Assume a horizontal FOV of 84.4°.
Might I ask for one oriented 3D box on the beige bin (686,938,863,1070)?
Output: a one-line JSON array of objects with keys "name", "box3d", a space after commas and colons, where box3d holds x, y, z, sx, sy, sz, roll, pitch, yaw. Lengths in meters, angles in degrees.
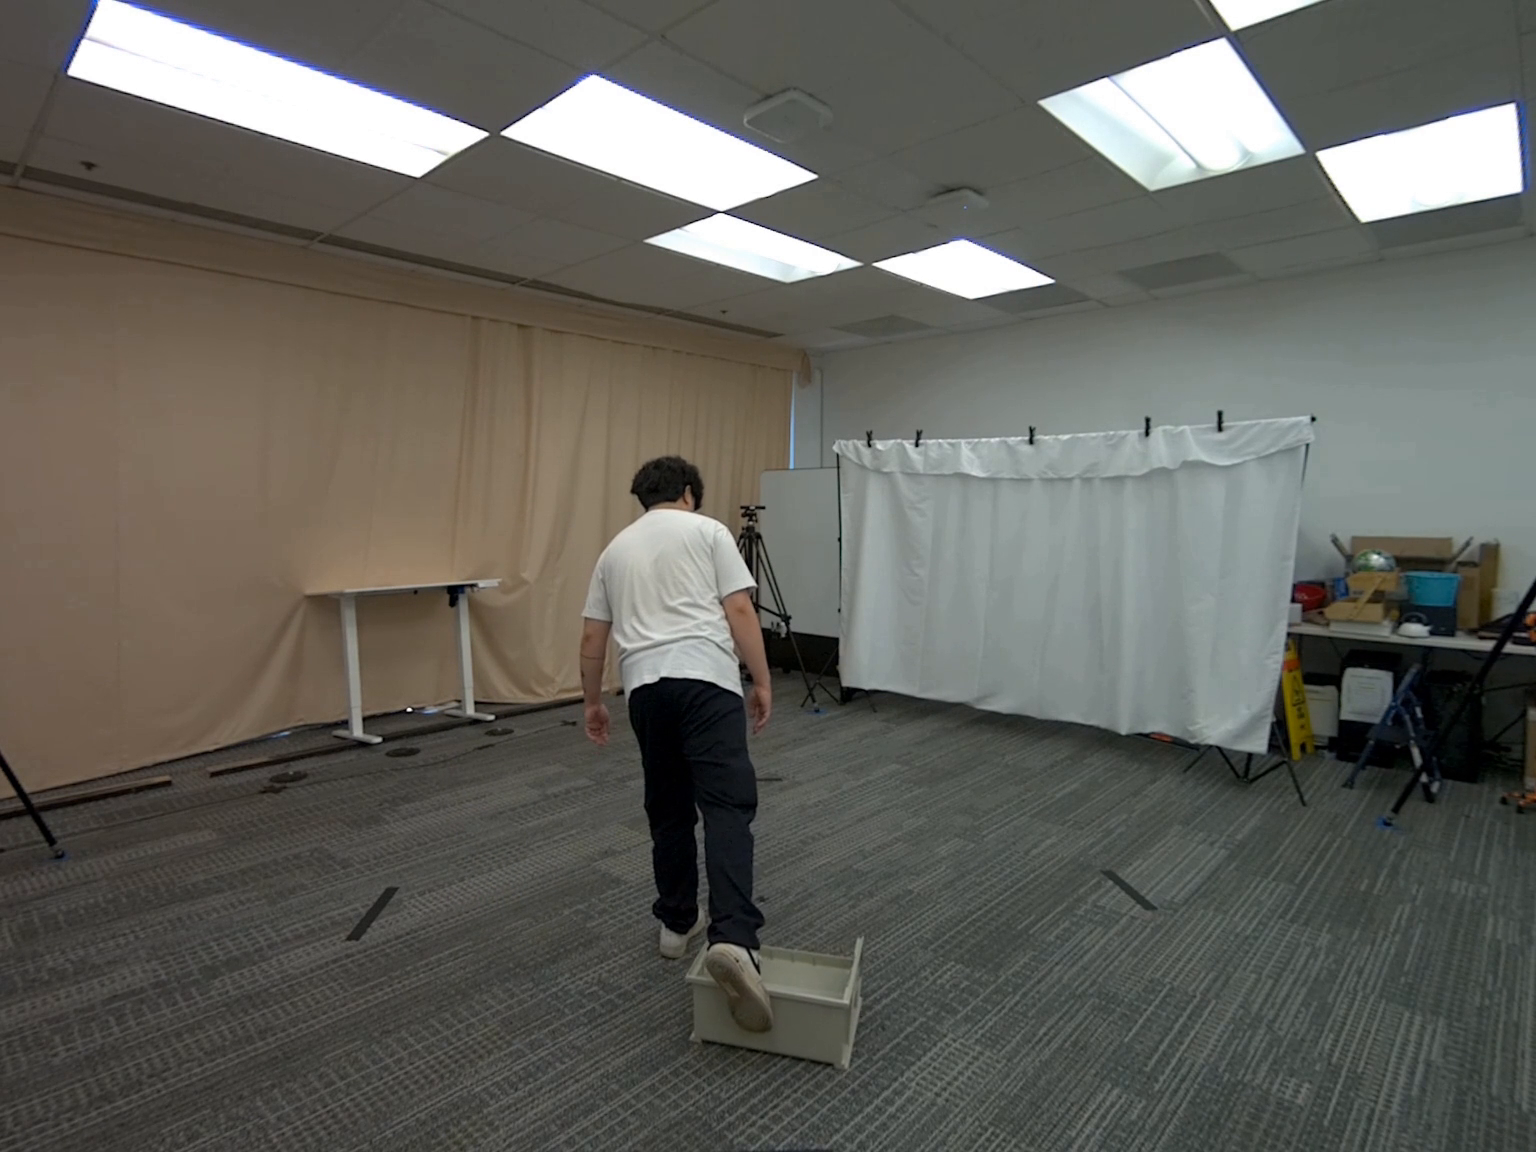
[{"name": "beige bin", "box3d": [0.036, 1.114, 2.295, 0.429, 0.188, 0.372, 2, 6, 14]}]
